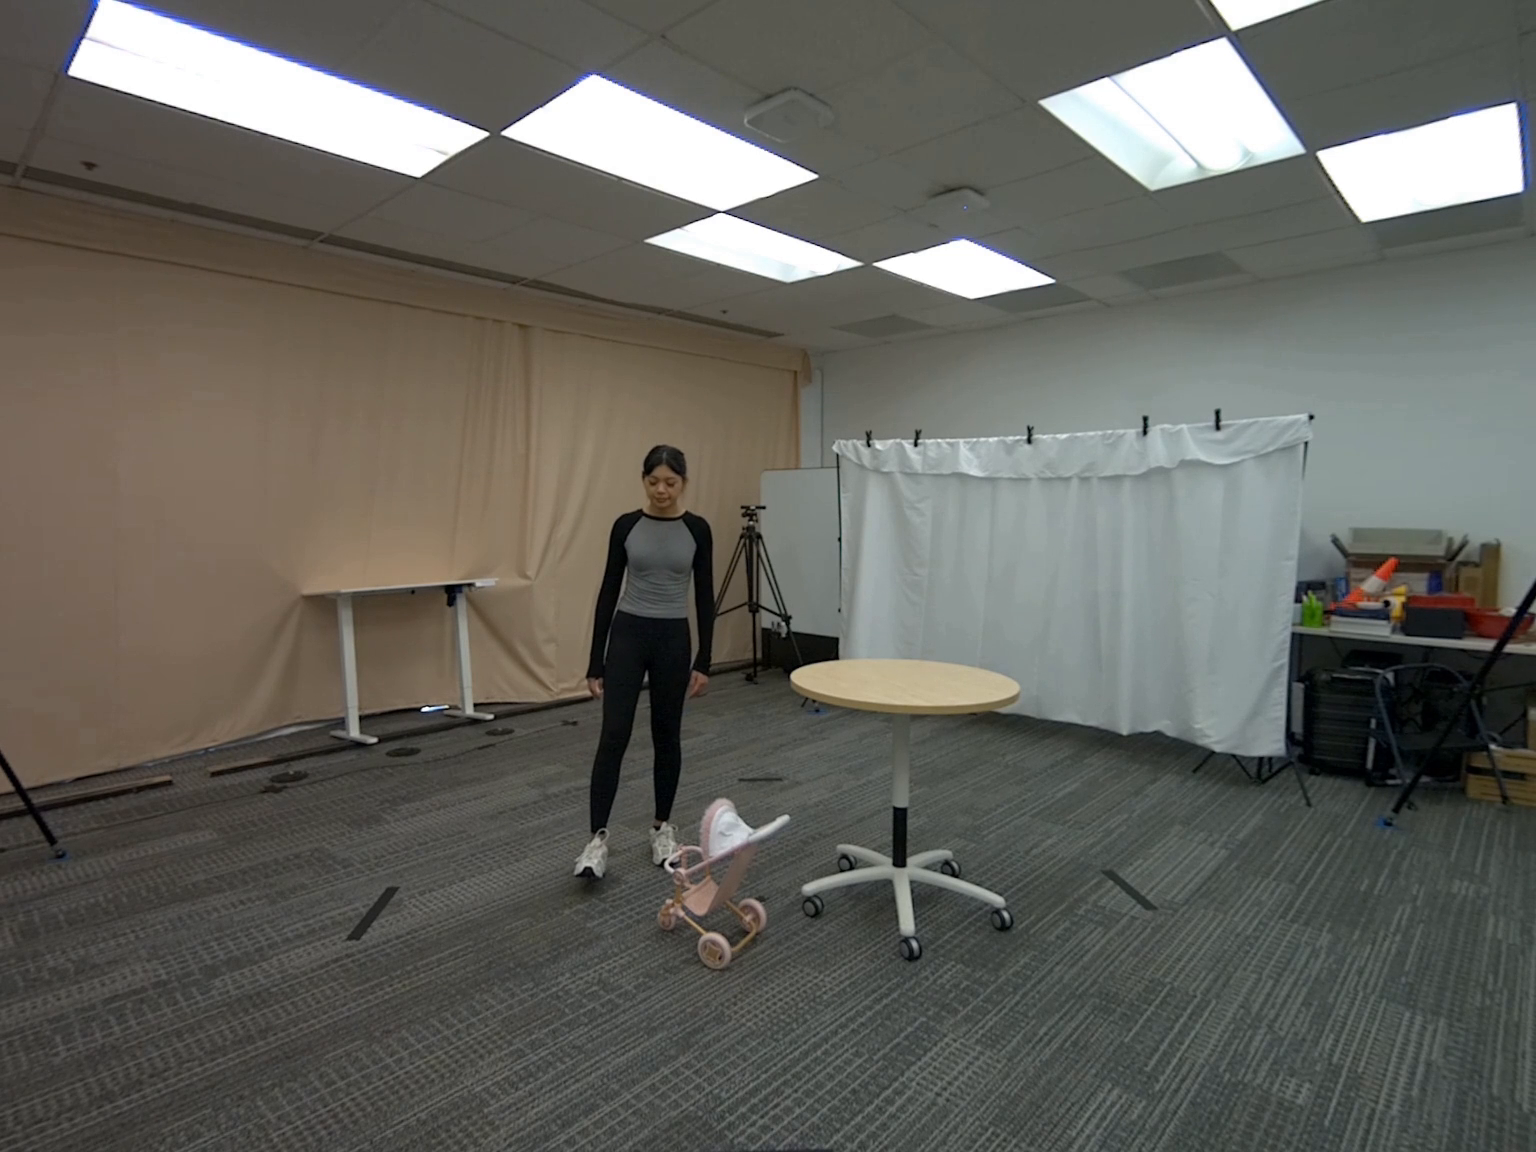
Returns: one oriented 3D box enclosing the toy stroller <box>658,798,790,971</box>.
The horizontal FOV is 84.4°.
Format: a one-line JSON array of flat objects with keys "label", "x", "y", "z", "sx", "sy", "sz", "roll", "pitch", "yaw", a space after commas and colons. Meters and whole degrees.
[{"label": "toy stroller", "x": -0.163, "y": 0.946, "z": 2.666, "sx": 0.352, "sy": 0.533, "sz": 0.273, "roll": 20, "pitch": 12, "yaw": 30}]
